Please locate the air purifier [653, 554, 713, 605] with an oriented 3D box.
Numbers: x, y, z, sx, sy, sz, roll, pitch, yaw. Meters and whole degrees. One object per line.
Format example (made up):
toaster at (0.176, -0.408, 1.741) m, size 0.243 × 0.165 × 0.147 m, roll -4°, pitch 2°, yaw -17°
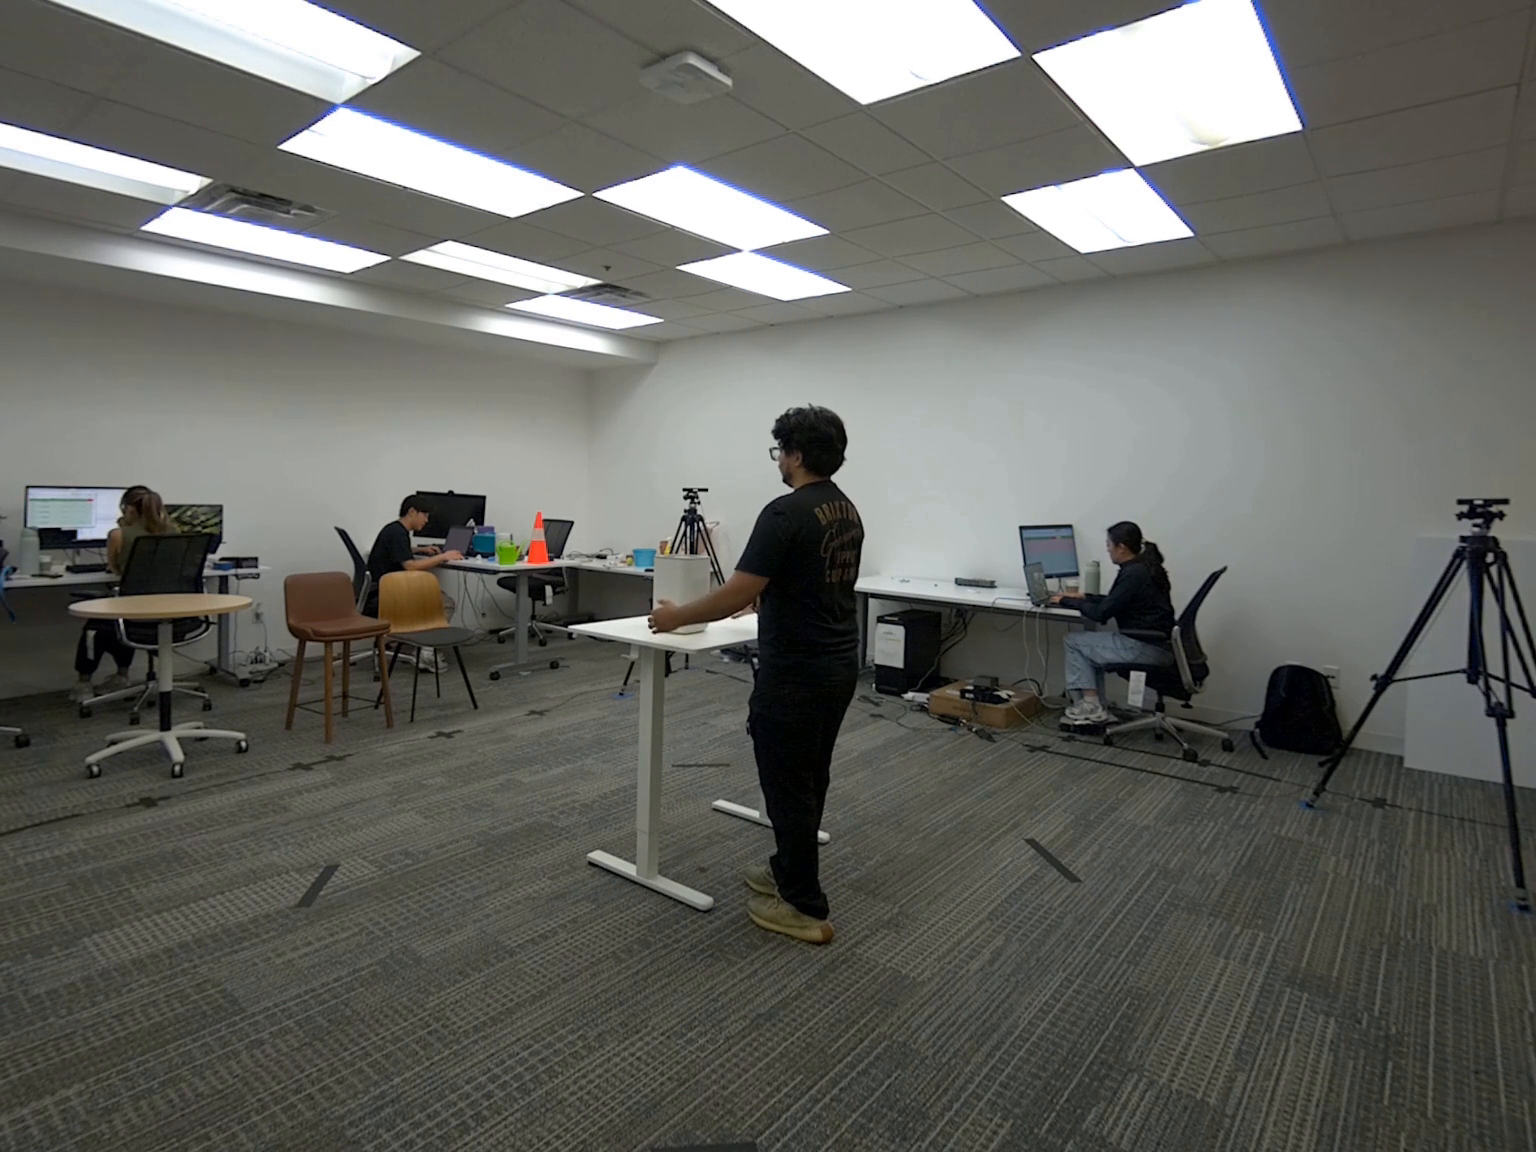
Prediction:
air purifier at (-0.315, 0.058, 3.005) m, size 0.176 × 0.264 × 0.167 m, roll 4°, pitch 4°, yaw 34°
